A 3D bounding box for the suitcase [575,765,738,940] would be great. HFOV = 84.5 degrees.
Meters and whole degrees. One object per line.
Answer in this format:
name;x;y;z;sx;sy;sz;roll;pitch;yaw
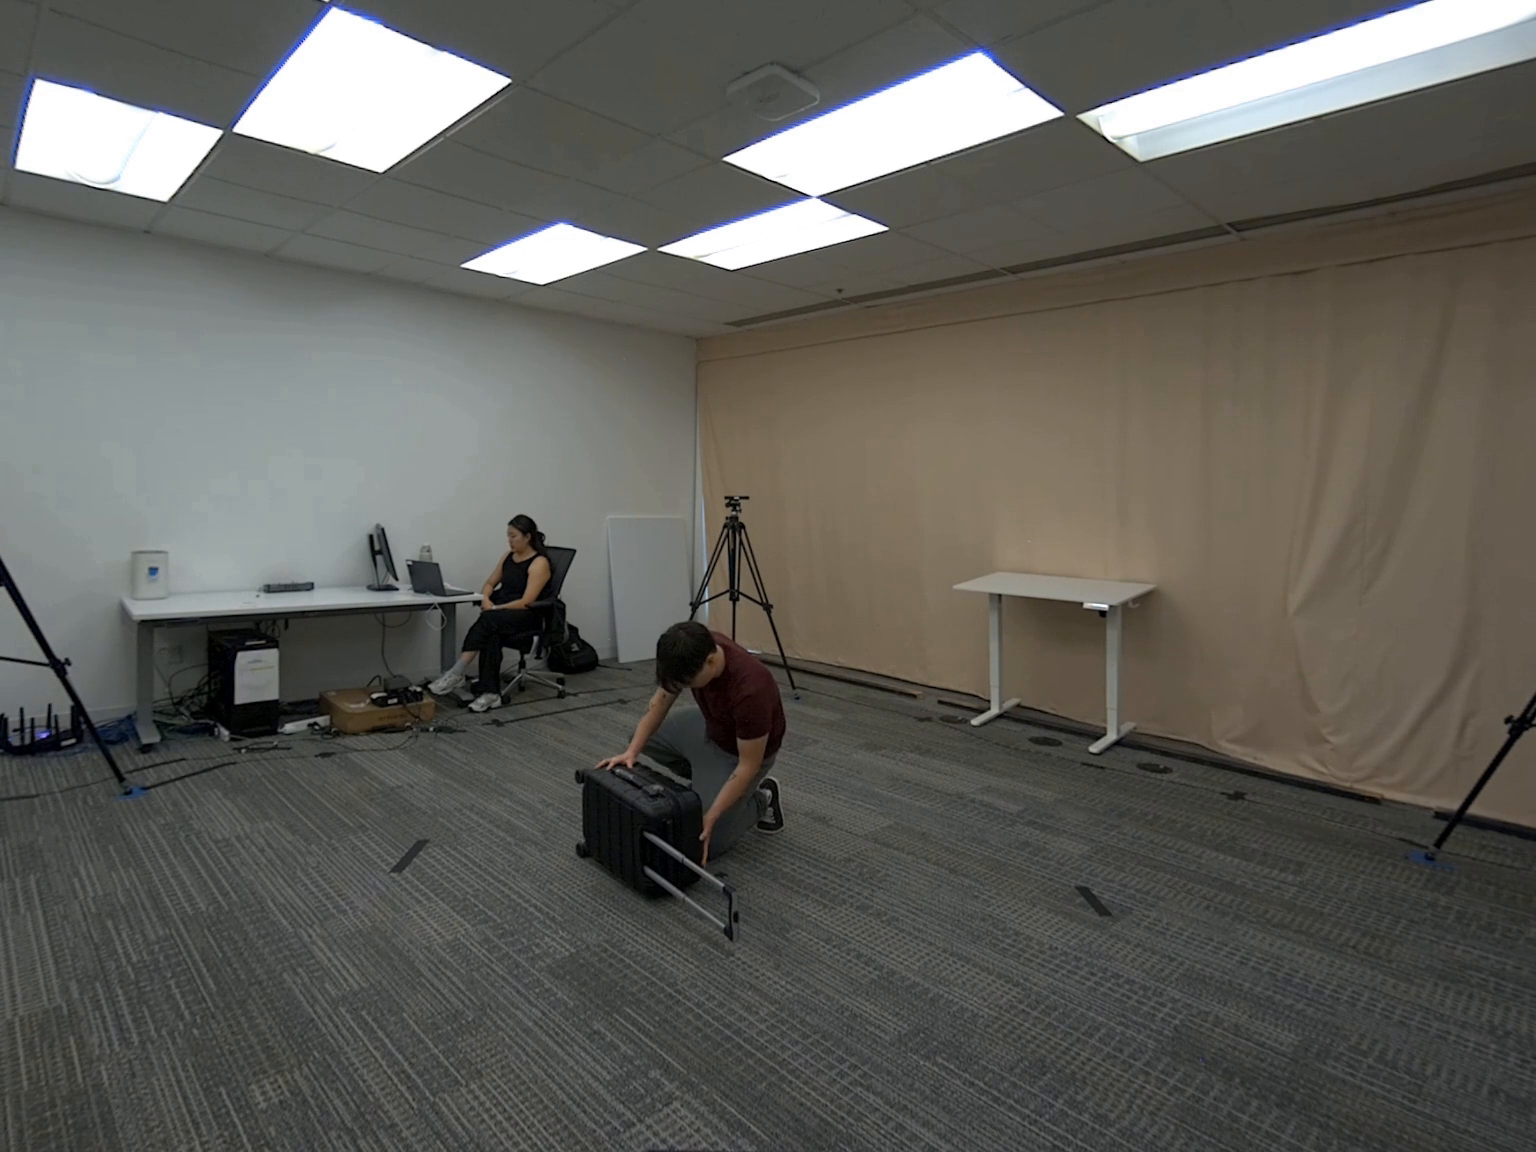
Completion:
suitcase;-0.348;0.931;2.920;0.252;0.382;1.004;-5;9;-38
